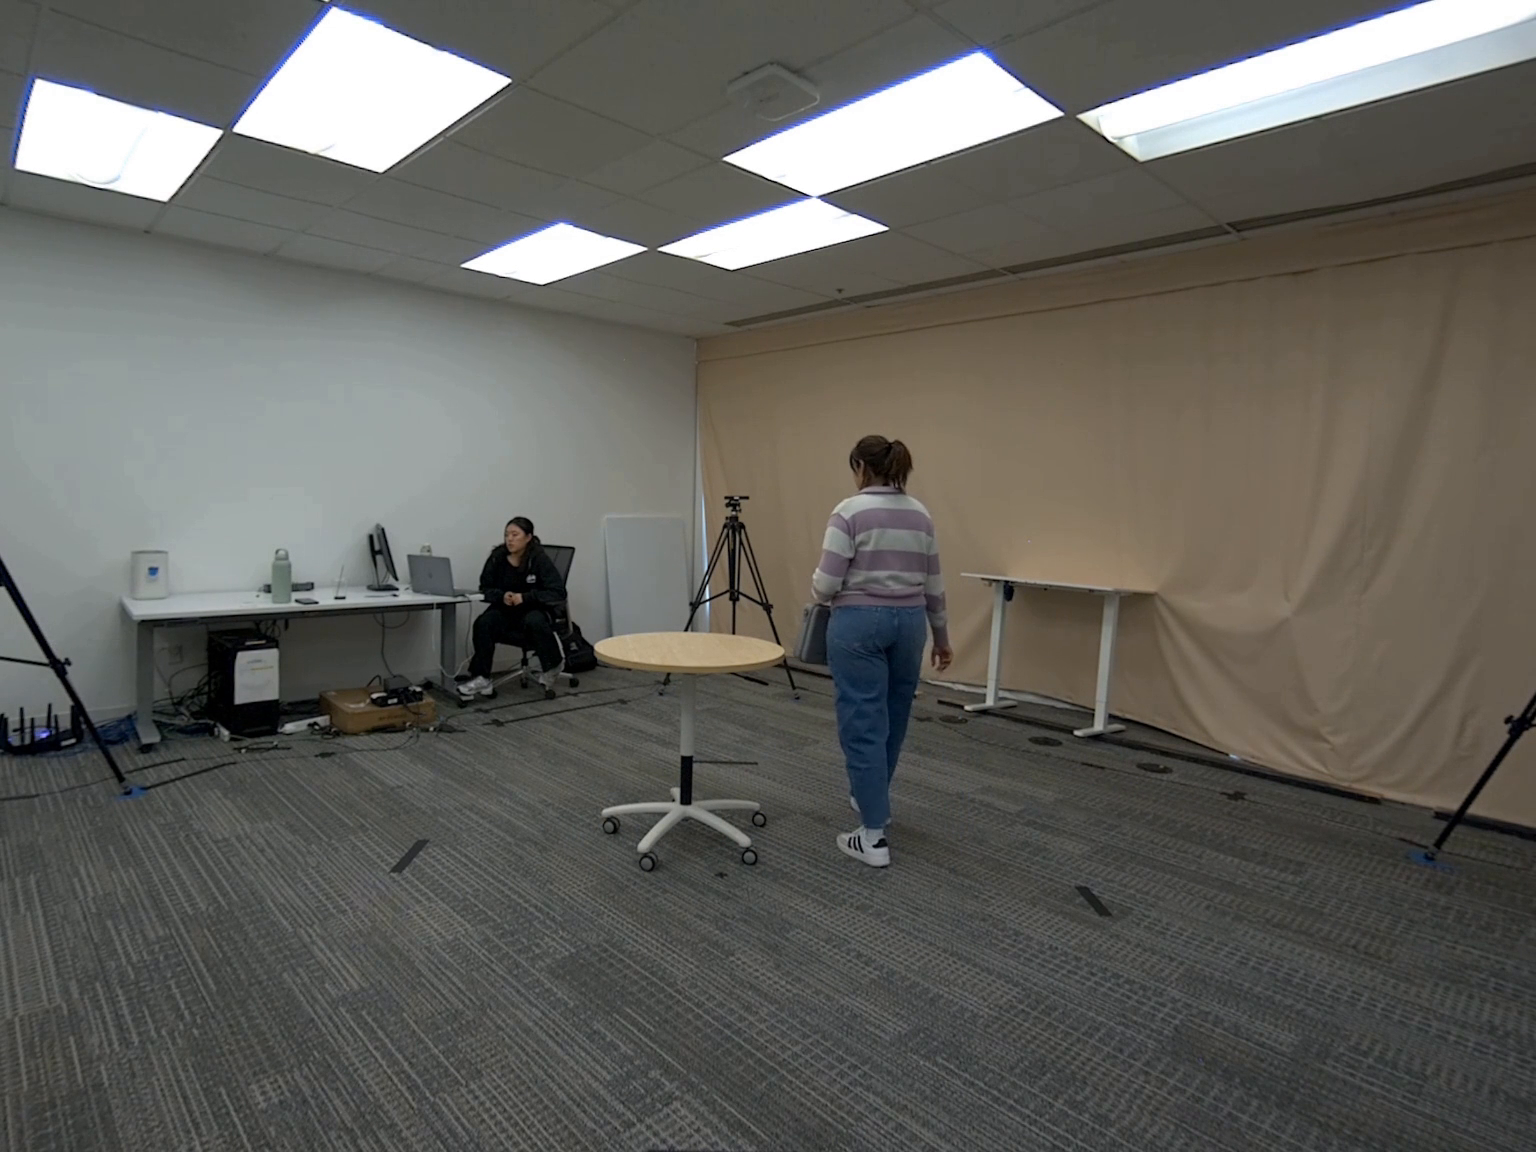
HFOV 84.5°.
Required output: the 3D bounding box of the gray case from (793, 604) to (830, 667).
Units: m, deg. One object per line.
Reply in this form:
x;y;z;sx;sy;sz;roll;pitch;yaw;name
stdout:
0.244;0.246;3.637;0.250;0.260;0.107;10;4;-33;gray case
